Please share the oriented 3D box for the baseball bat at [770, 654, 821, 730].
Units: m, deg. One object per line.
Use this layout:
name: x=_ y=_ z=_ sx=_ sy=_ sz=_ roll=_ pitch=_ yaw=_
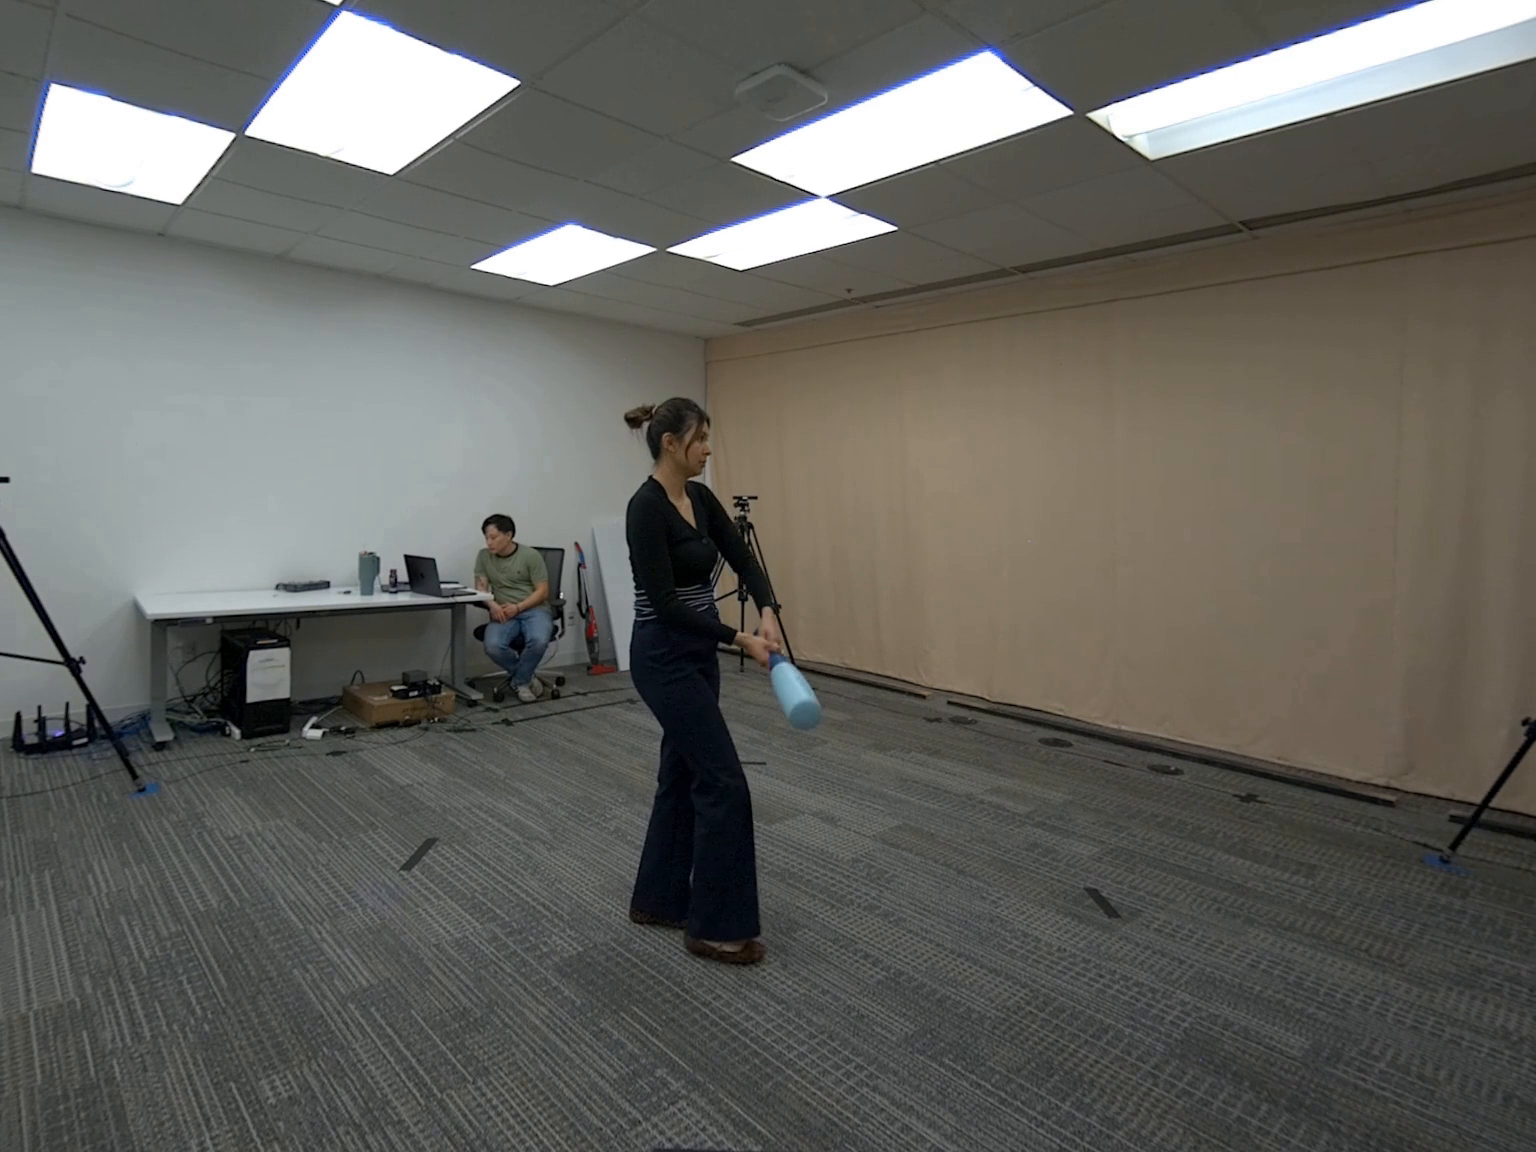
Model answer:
baseball bat: x=0.014 y=0.255 z=2.281 sx=0.088 sy=0.088 sz=0.553 roll=0 pitch=16 yaw=-10
